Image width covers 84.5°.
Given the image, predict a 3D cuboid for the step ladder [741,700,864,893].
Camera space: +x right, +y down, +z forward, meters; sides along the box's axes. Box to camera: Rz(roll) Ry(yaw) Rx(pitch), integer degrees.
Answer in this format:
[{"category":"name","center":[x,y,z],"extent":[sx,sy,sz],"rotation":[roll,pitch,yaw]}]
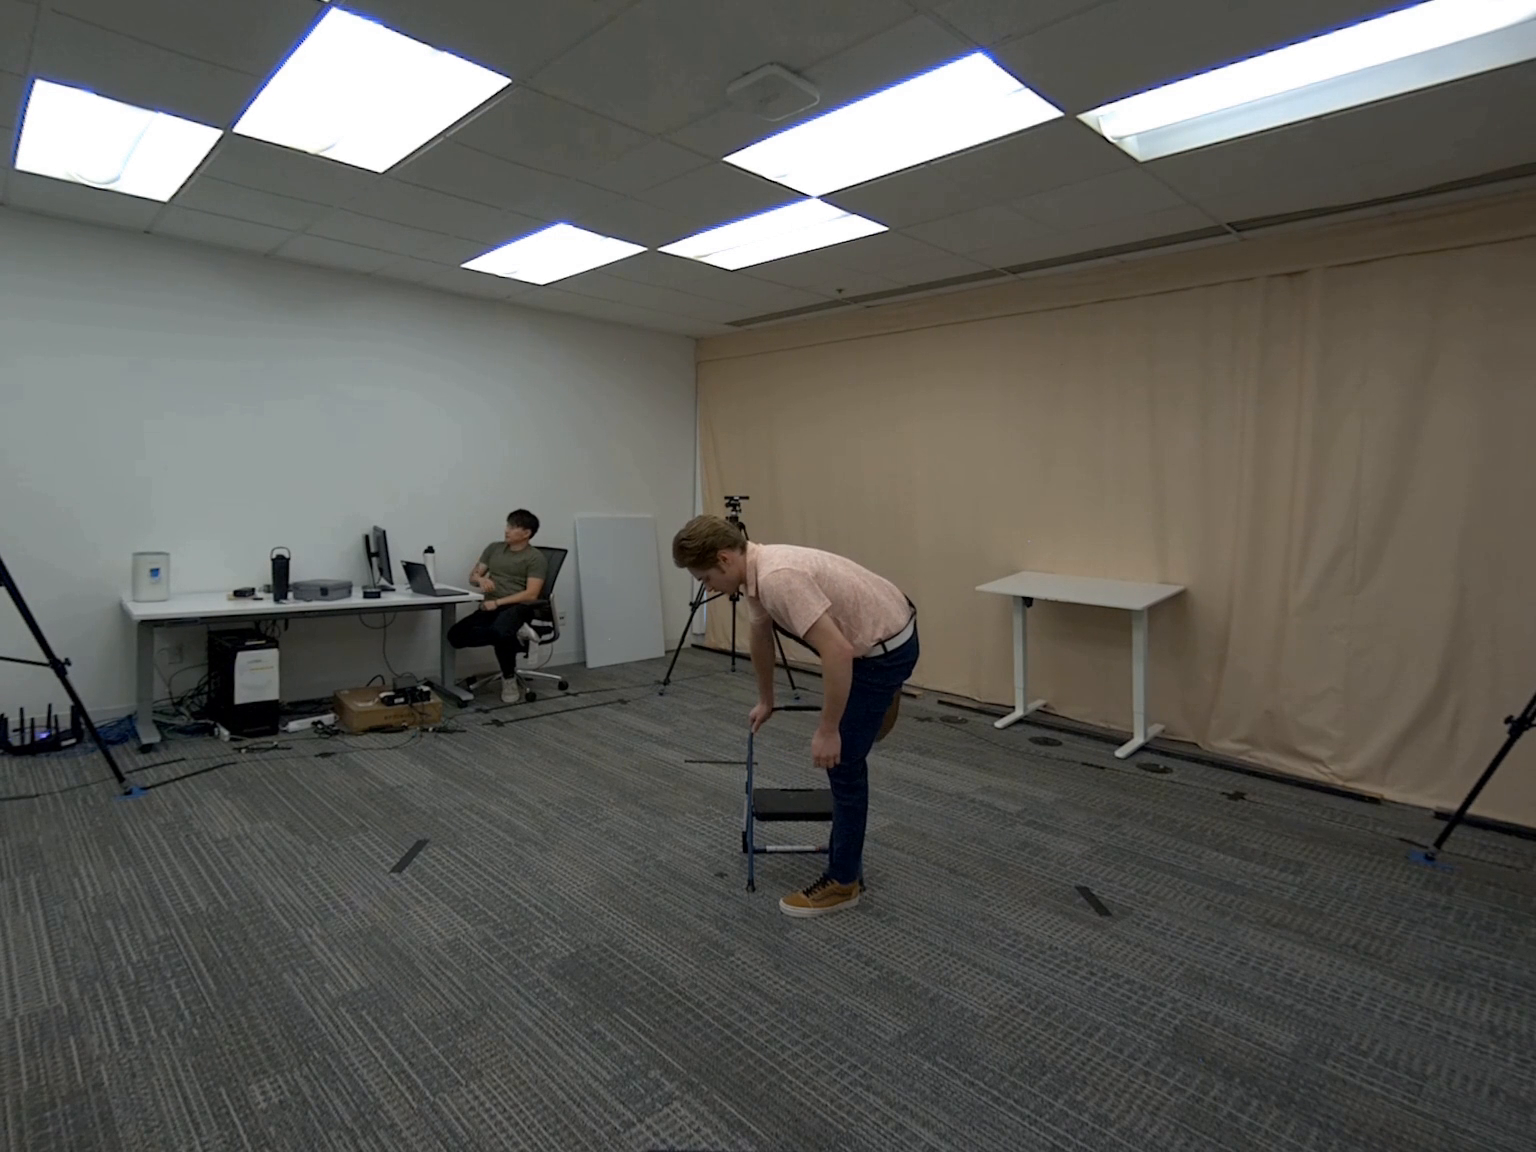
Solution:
[{"category":"step ladder","center":[0.122,0.807,3.147],"extent":[0.429,0.604,0.351],"rotation":[2,4,-5]}]
